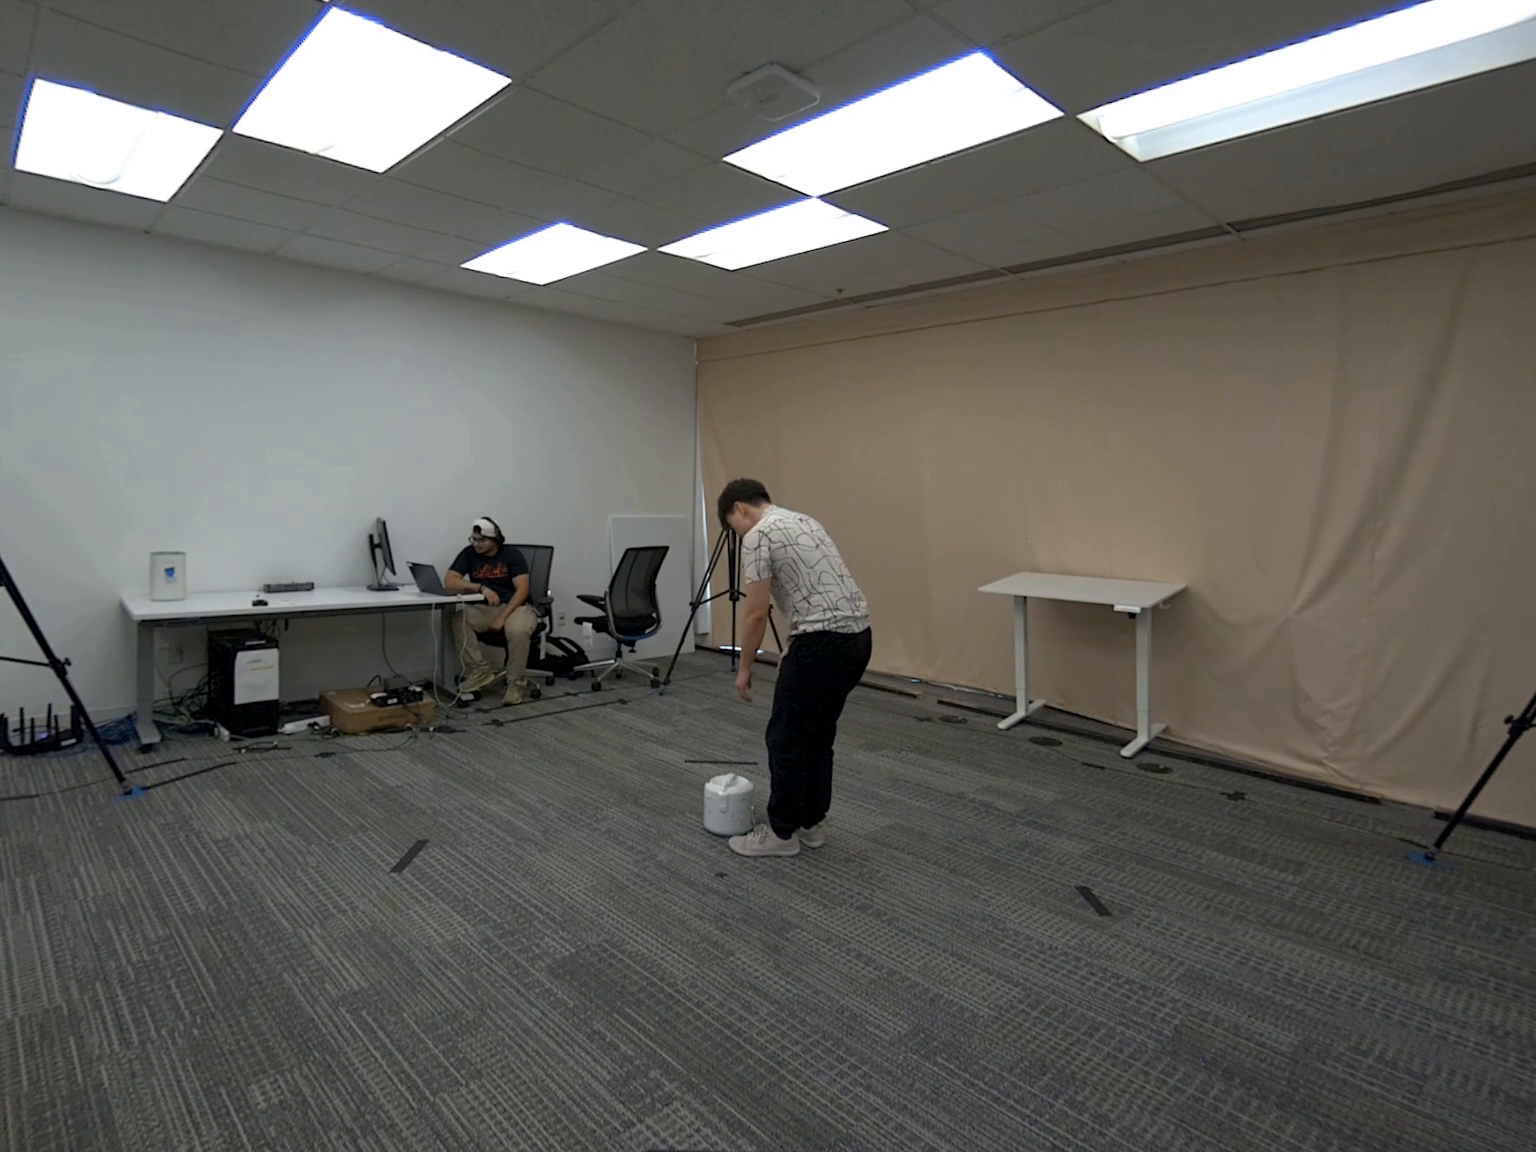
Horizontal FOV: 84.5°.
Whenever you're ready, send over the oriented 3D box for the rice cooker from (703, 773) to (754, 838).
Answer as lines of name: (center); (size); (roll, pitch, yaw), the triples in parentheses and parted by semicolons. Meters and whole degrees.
rice cooker: (-0.164, 0.945, 3.531); (0.220, 0.232, 0.218); (1, 4, 15)
